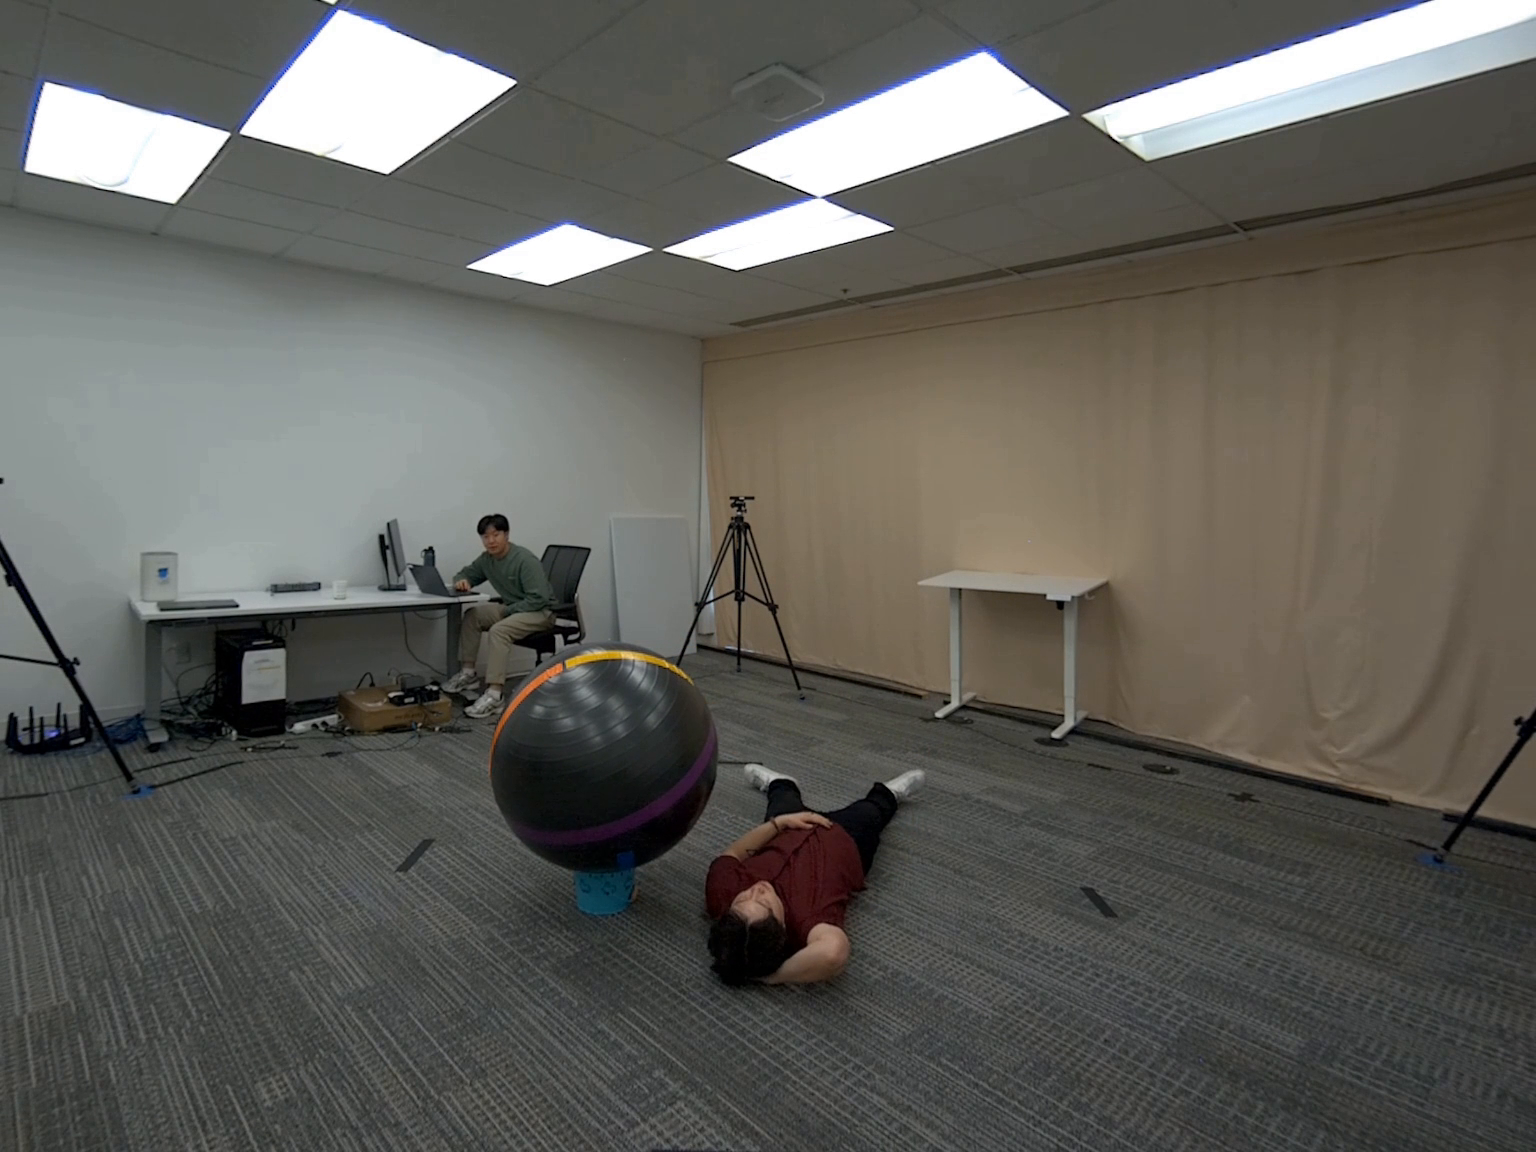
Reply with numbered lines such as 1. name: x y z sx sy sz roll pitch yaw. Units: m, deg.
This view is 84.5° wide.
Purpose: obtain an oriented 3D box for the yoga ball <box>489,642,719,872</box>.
1. yoga ball: -0.556 0.610 2.843 0.757 0.756 0.761 1 4 -1
